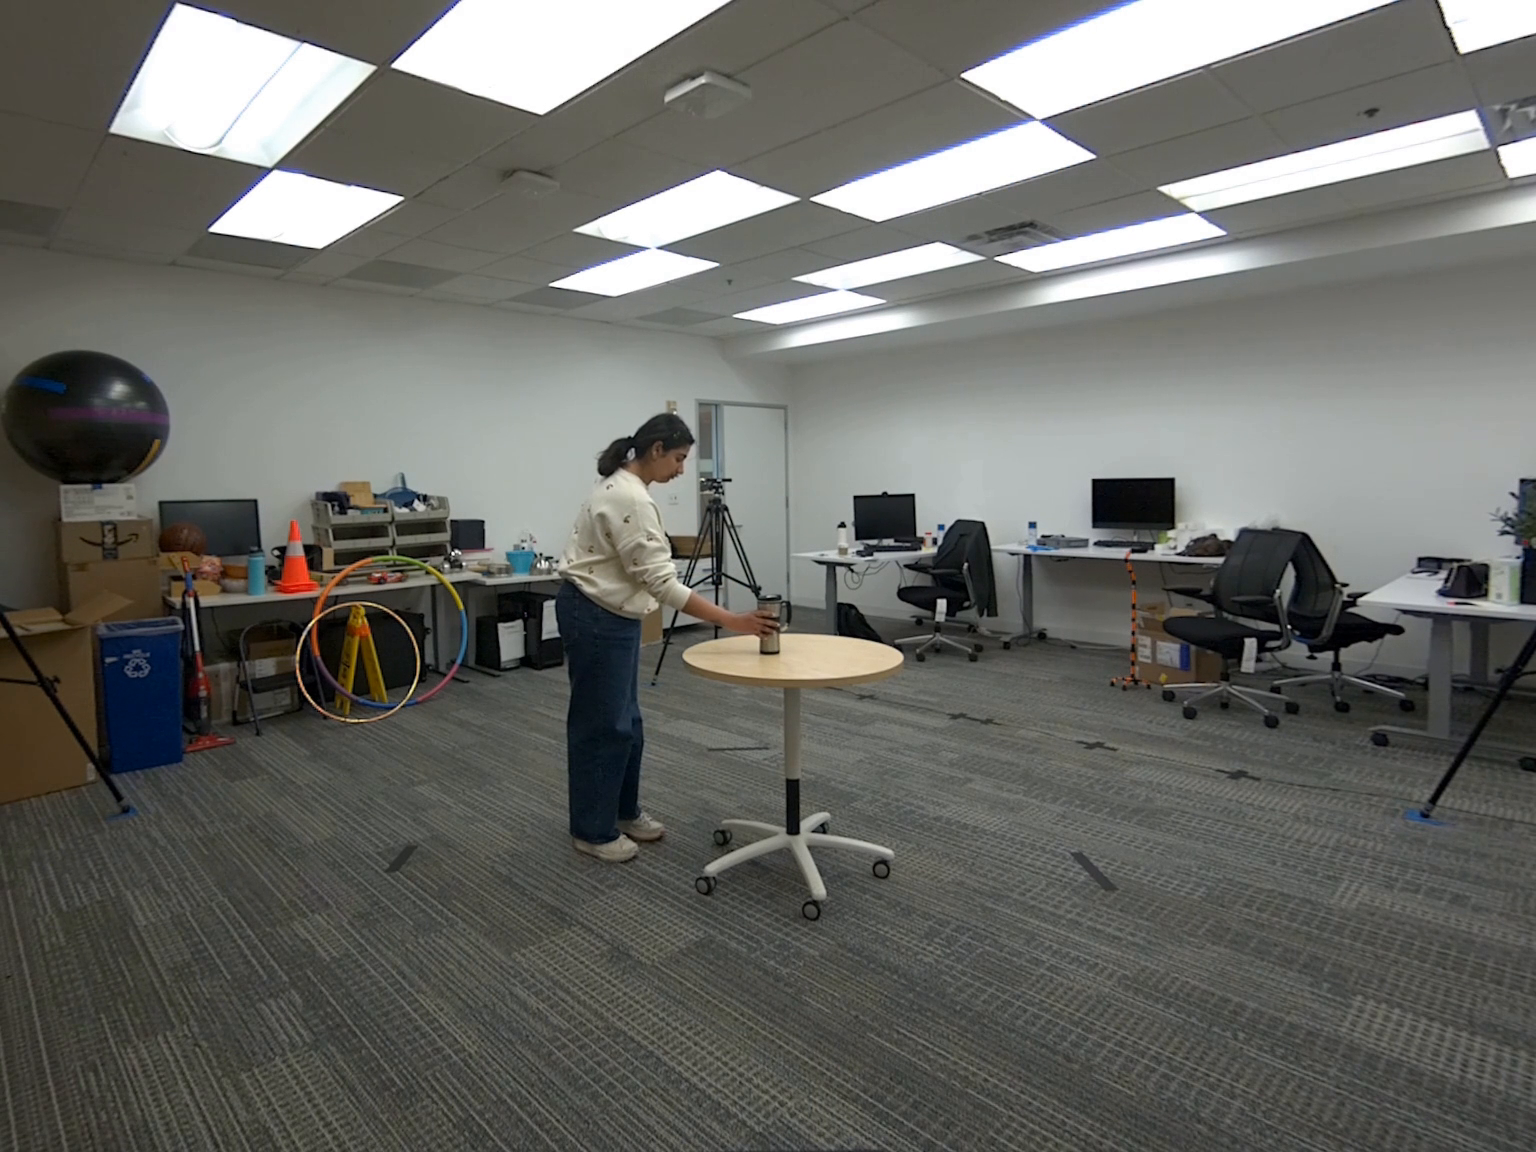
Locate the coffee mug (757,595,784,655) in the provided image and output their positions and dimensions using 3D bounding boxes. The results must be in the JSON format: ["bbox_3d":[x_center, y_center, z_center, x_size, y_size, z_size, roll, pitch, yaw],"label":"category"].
[{"bbox_3d":[0.020,0.173,2.977,0.125,0.203,0.085,-4,-3,41],"label":"coffee mug"}]
